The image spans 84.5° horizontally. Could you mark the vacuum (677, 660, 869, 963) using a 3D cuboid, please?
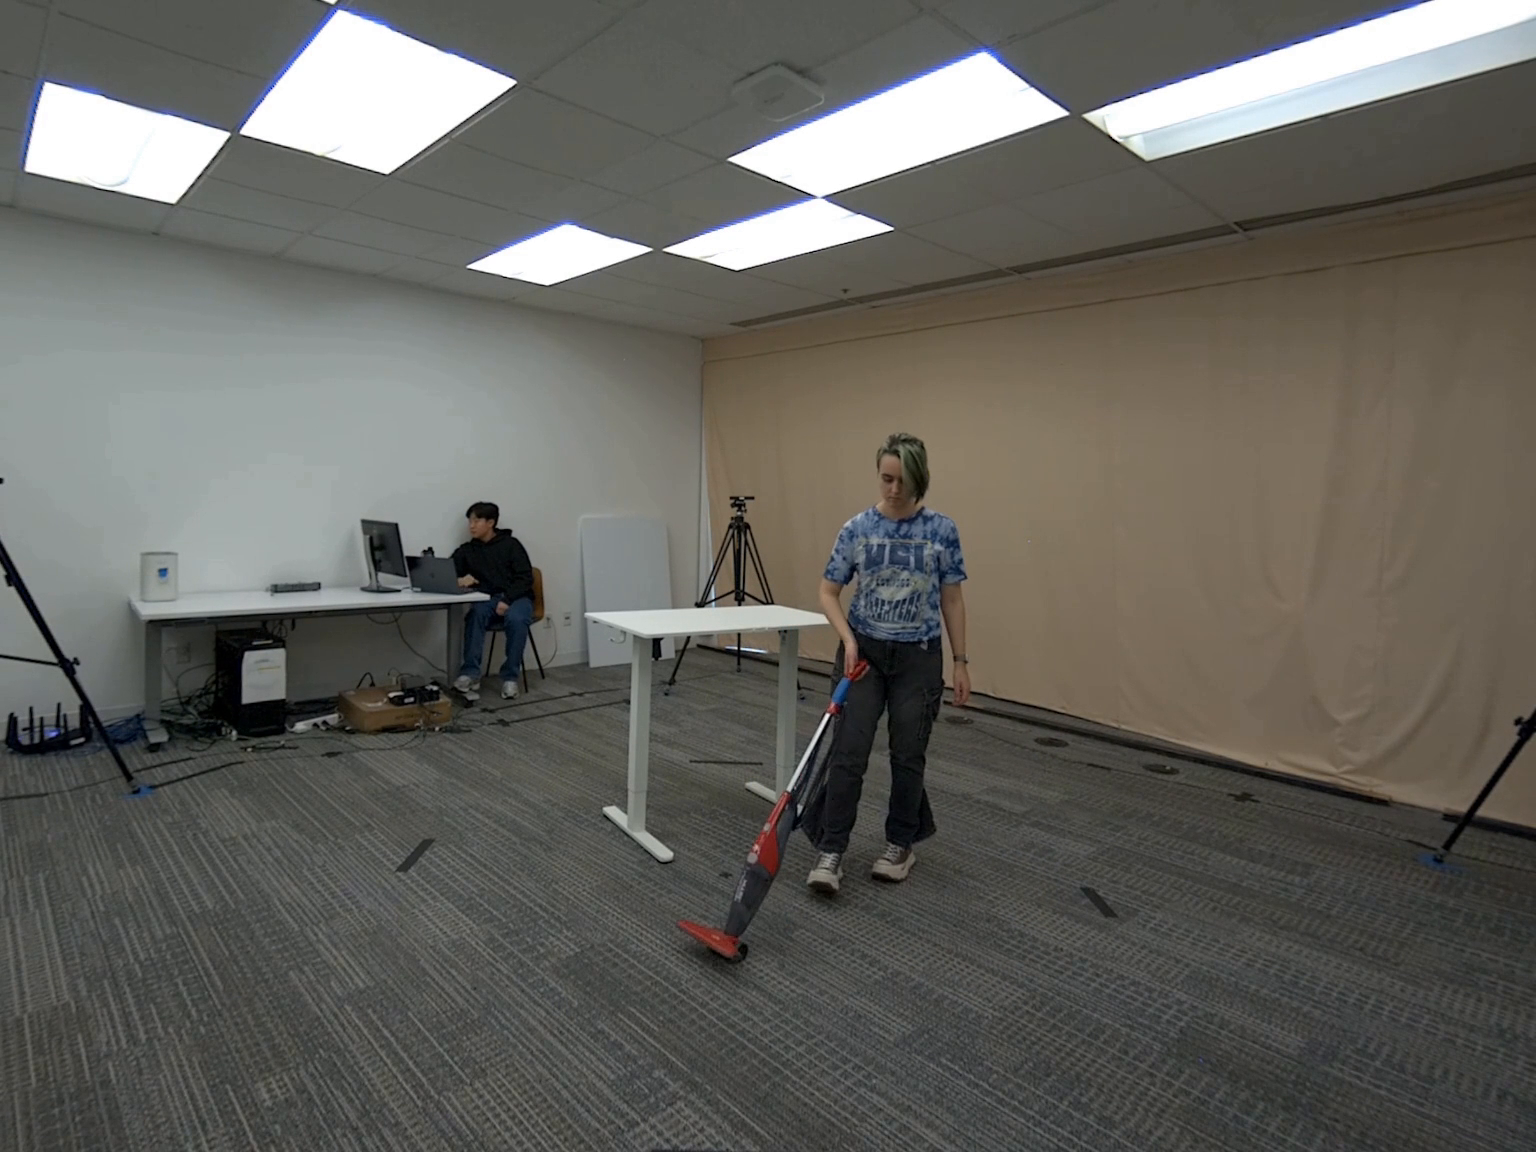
[{"bbox_3d":[0.085,0.725,2.749,0.259,1.054,0.139,9,-33,41],"label":"vacuum"}]
